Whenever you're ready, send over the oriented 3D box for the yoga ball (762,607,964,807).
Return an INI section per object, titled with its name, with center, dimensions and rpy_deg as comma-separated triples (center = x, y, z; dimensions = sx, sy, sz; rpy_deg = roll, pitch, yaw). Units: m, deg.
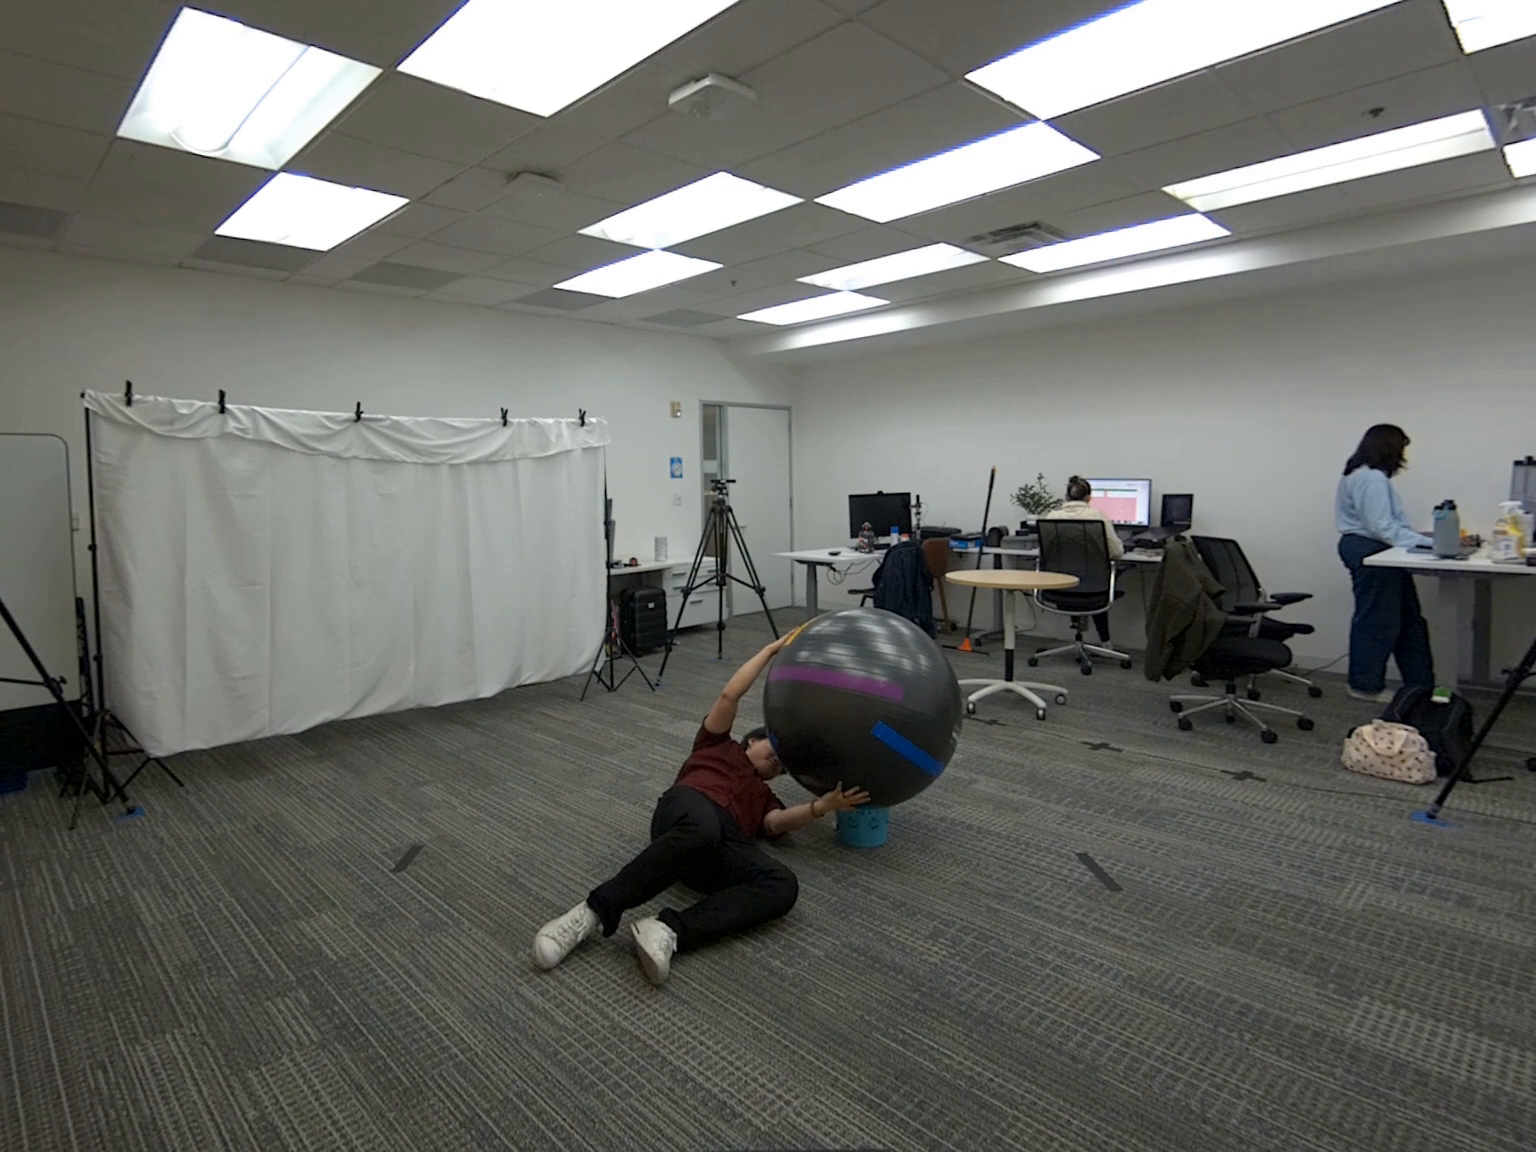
[yoga ball]
center = 0.369, 0.508, 3.309
dimensions = 0.757, 0.755, 0.762
rpy_deg = -1, 5, -2
